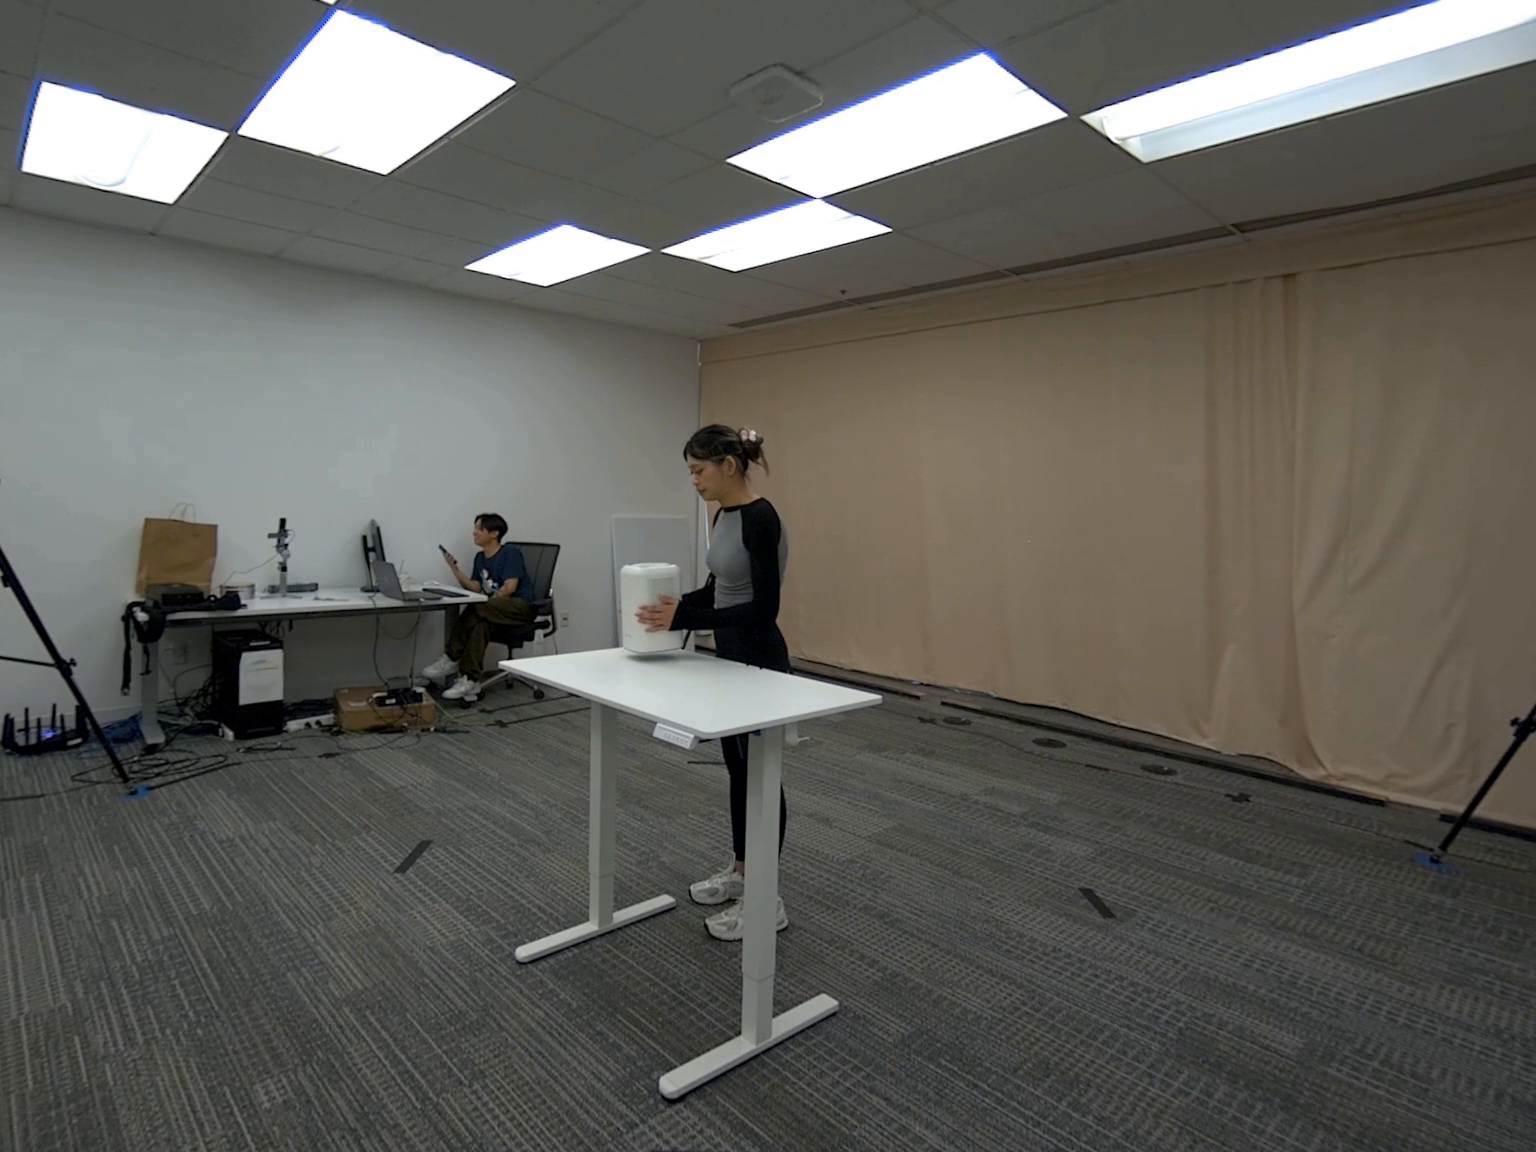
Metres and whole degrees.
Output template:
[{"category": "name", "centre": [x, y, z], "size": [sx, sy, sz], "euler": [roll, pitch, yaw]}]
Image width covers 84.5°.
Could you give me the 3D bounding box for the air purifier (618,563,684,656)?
[{"category": "air purifier", "centre": [-0.367, 0.095, 2.664], "size": [0.168, 0.265, 0.175], "euler": [-4, 4, -31]}]
